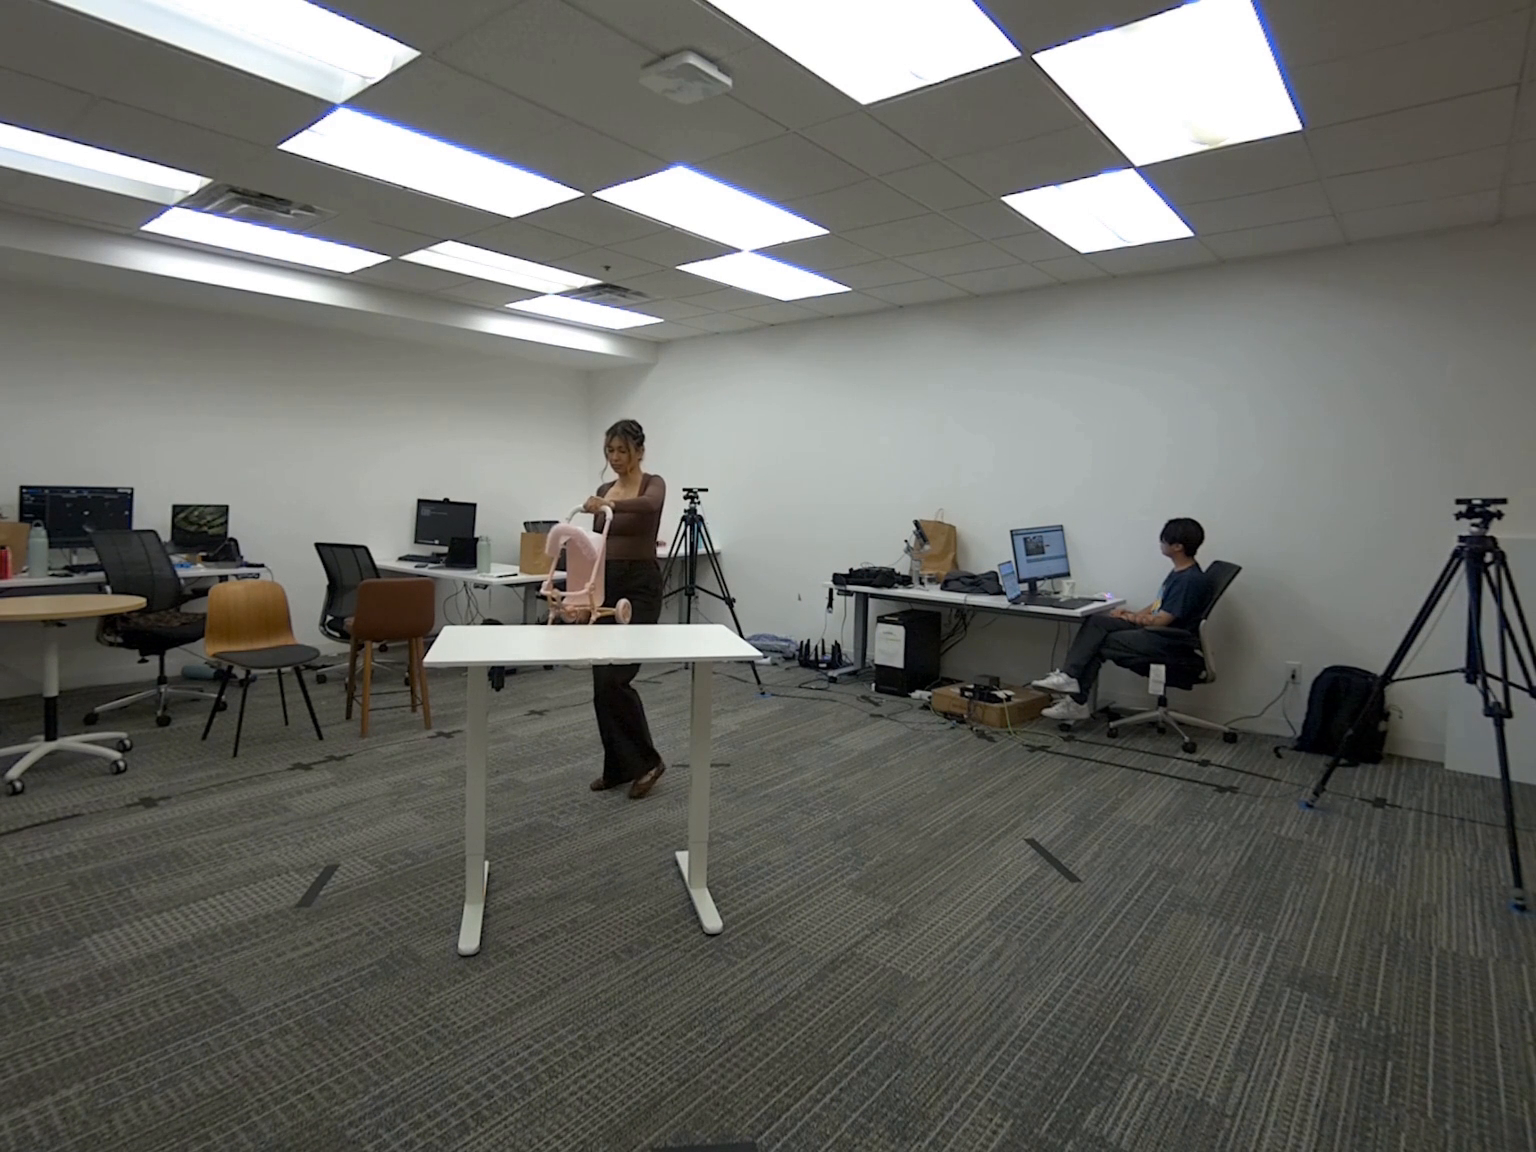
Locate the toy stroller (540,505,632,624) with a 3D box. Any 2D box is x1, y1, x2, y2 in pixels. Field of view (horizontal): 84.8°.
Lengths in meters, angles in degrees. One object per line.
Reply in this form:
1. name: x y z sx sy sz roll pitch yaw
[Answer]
1. toy stroller: -0.753 0.020 3.310 0.289 0.528 0.337 2 14 25
